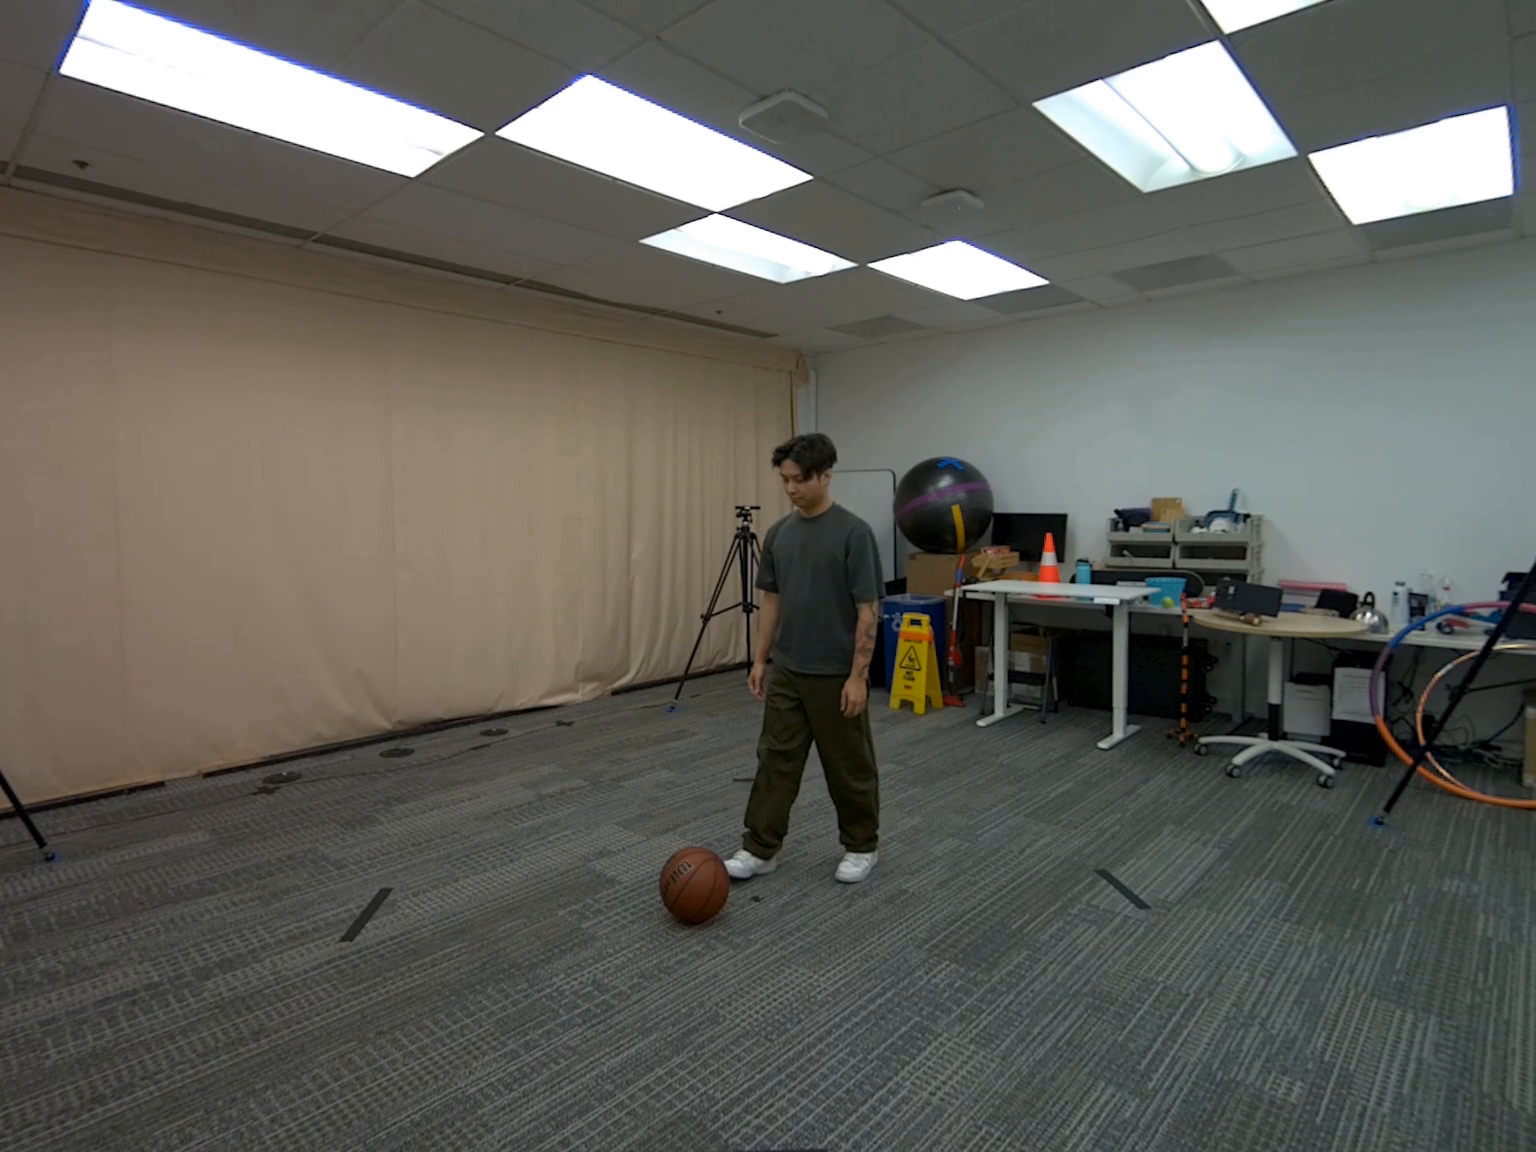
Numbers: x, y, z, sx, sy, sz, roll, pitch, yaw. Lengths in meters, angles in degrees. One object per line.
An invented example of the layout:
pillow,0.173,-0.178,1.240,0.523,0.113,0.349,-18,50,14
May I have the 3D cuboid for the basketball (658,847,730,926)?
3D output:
basketball,-0.245,1.033,2.836,0.236,0.235,0.237,0,4,-2
